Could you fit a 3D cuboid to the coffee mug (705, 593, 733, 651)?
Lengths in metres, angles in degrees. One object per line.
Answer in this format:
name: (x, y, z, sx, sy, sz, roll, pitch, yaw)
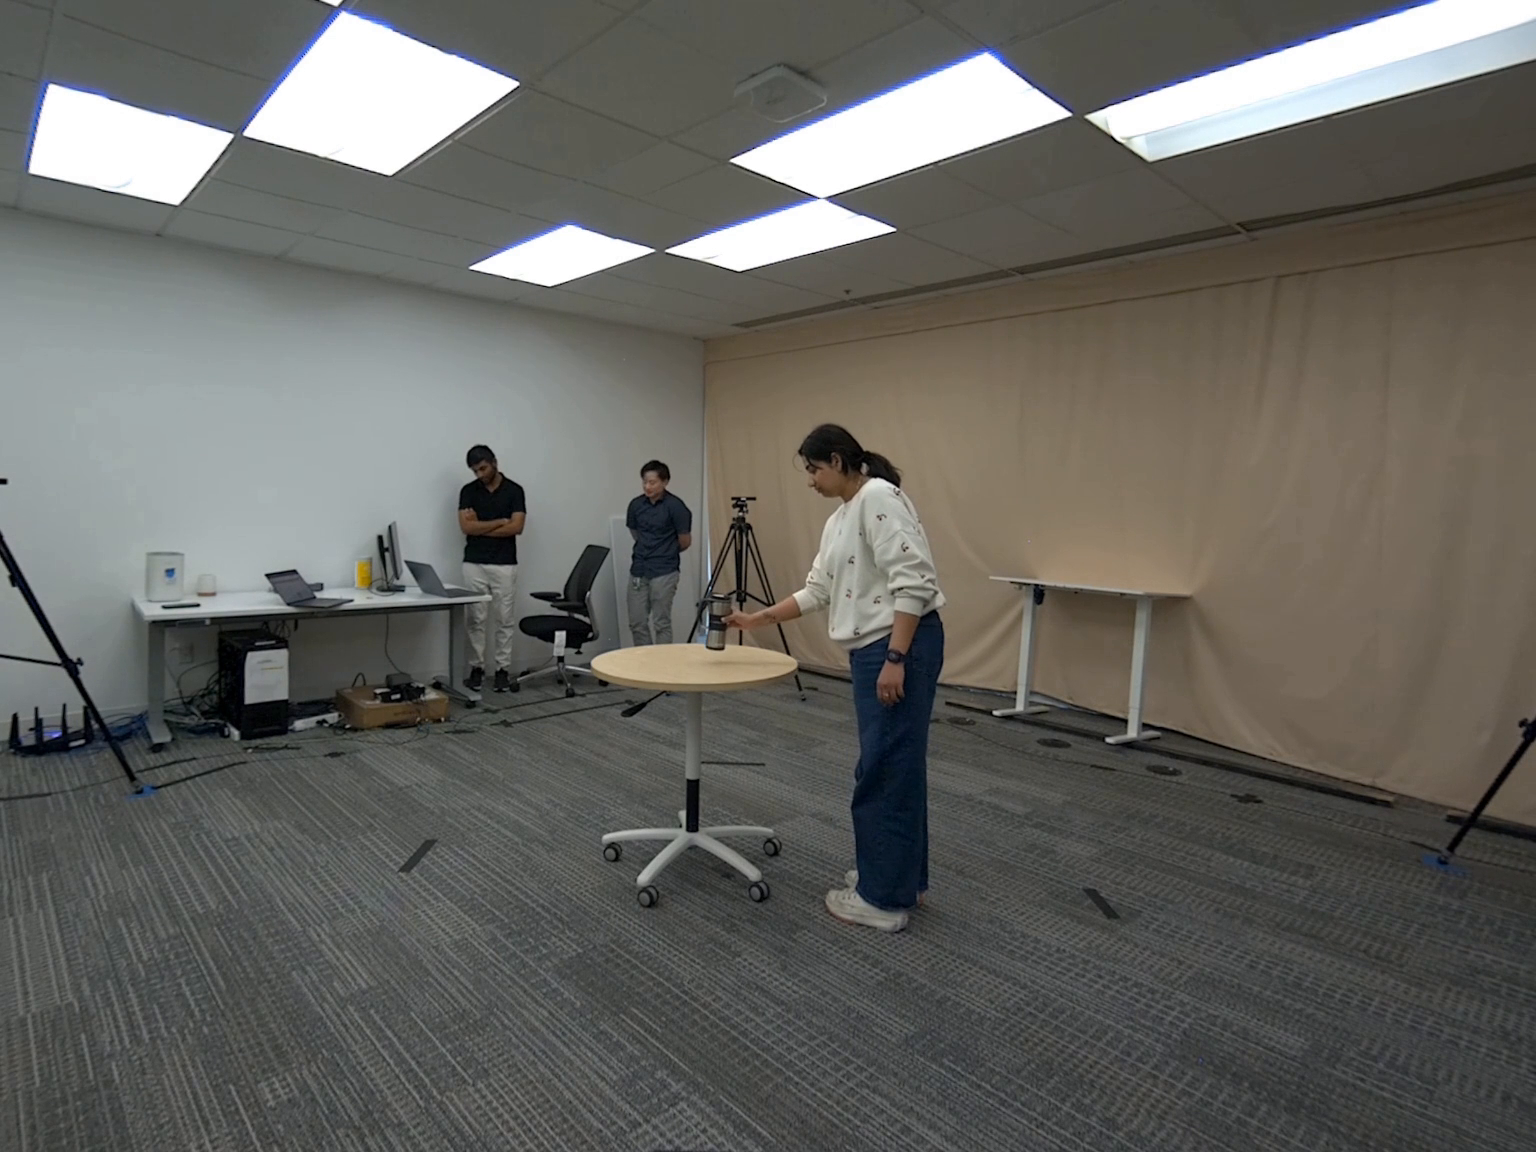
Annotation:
coffee mug: (-0.173, 0.171, 3.100, 0.122, 0.202, 0.088, 1, 2, -1)
